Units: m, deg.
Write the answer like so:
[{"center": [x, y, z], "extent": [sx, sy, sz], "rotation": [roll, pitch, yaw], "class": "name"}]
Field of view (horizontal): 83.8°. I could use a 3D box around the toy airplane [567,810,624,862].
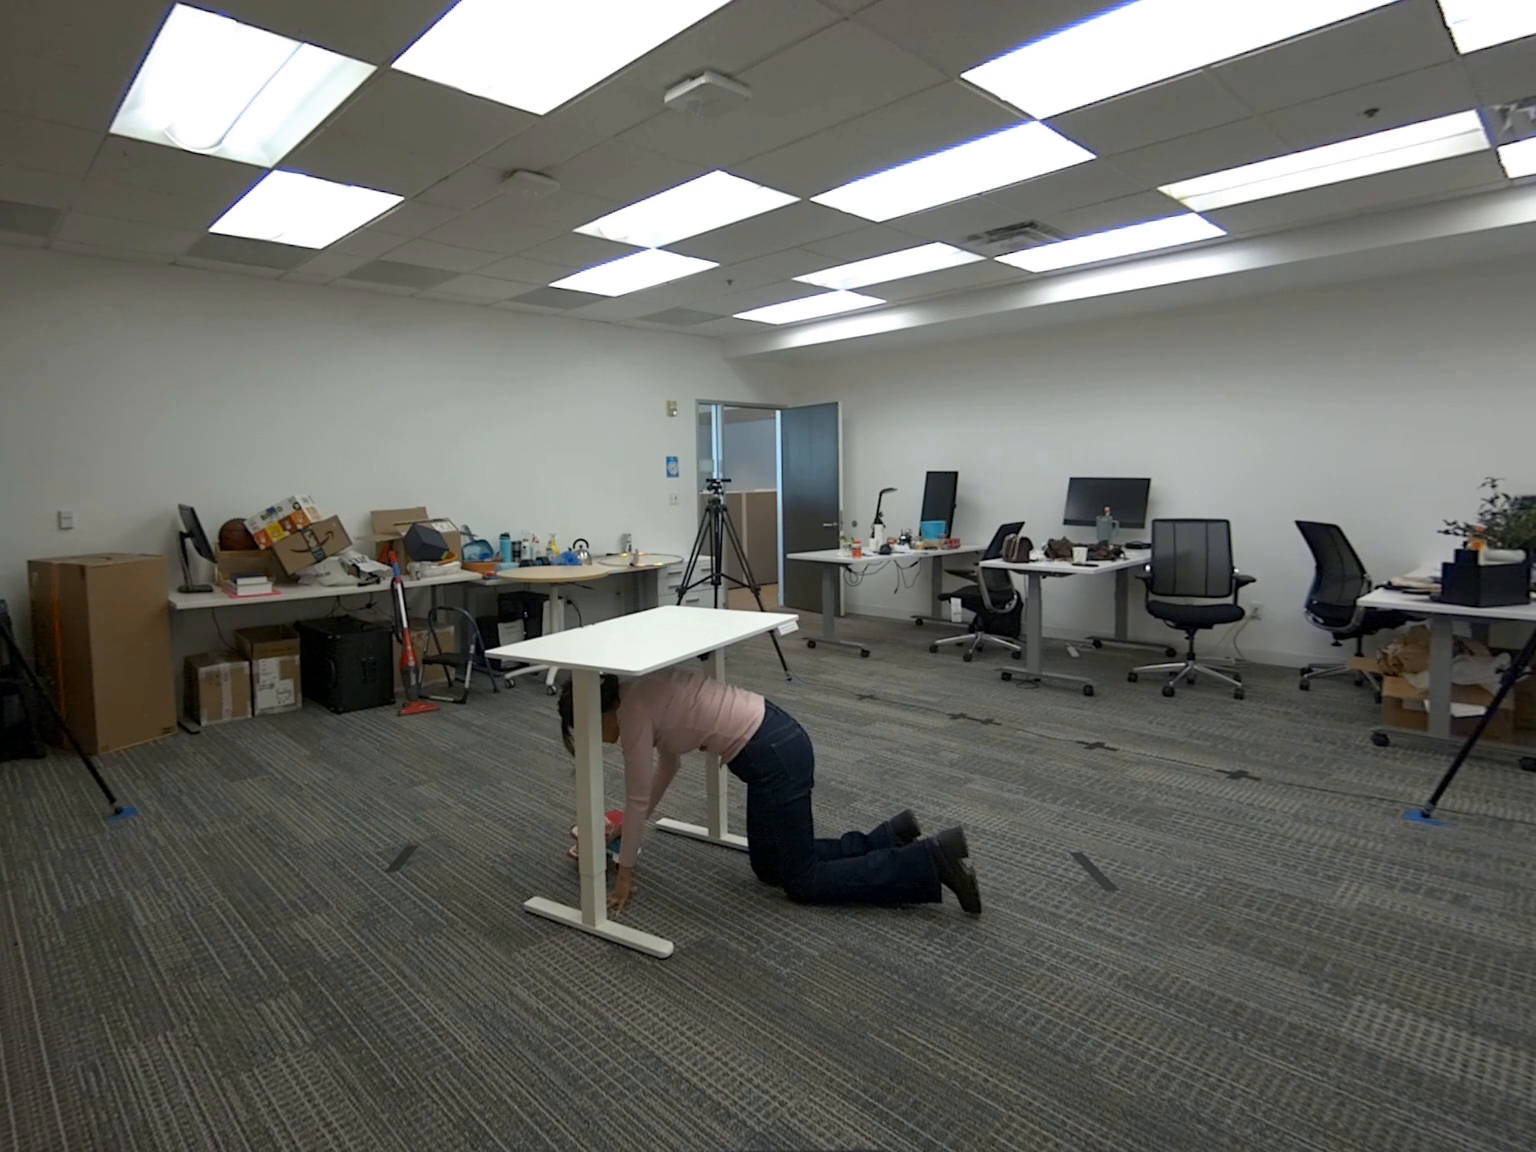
[{"center": [-0.569, 0.974, 3.148], "extent": [0.261, 0.155, 0.251], "rotation": [-3, 7, 6], "class": "toy airplane"}]
